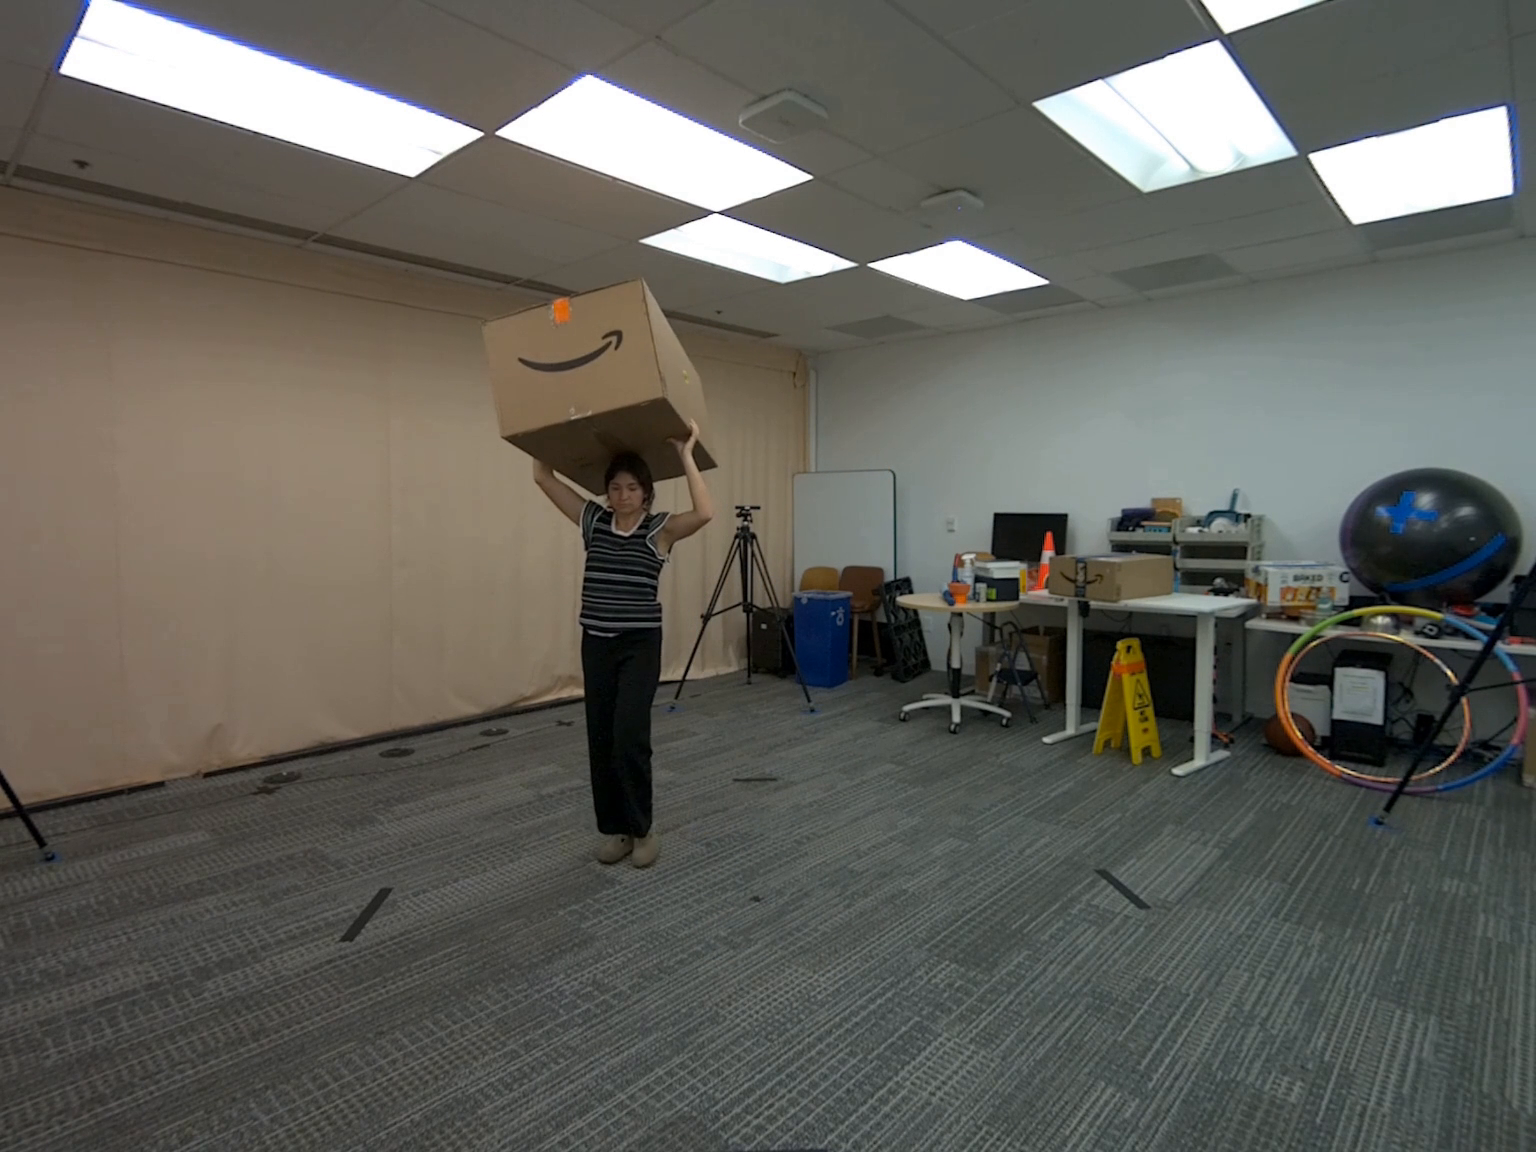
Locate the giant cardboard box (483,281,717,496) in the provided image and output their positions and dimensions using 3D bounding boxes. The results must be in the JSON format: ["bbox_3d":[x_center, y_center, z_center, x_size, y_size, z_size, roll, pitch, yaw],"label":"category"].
[{"bbox_3d":[-0.595,-0.680,3.282,0.581,0.429,1.012,-12,-7,5],"label":"giant cardboard box"}]
